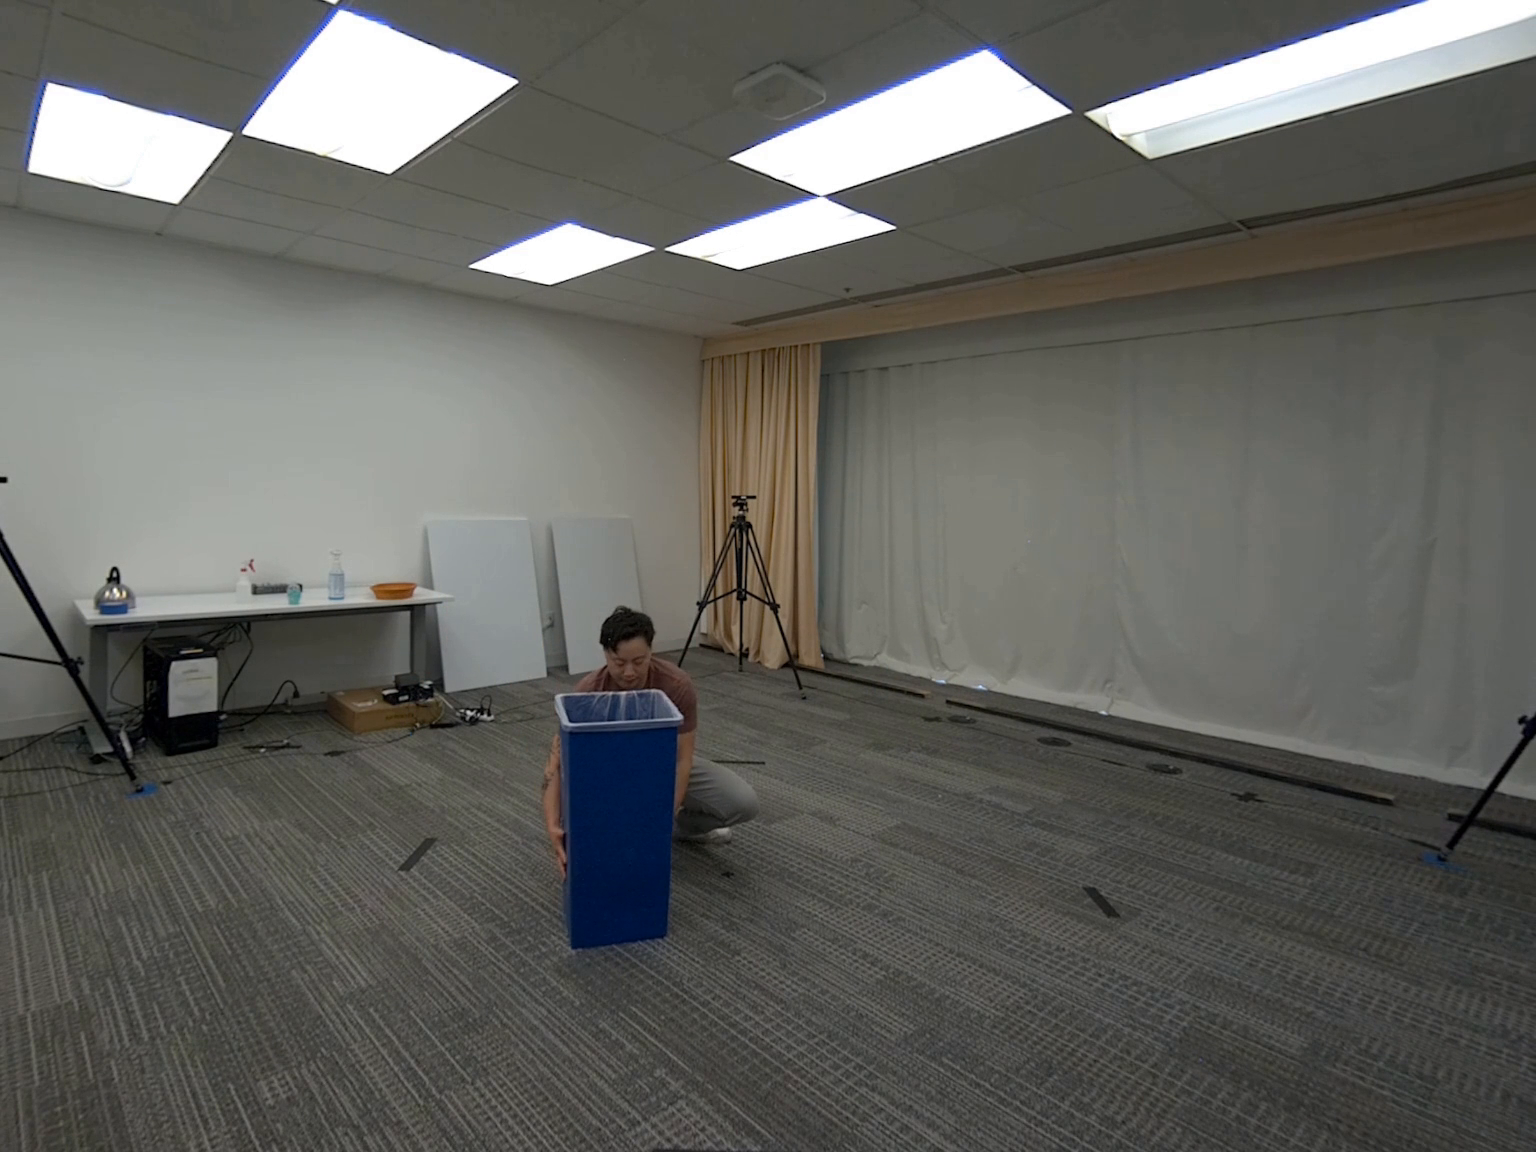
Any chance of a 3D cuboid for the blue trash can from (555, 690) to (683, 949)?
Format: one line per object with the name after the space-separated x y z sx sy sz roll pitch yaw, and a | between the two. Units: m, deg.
-0.499 0.767 2.716 0.373 0.711 0.380 0 5 -18 | blue trash can
